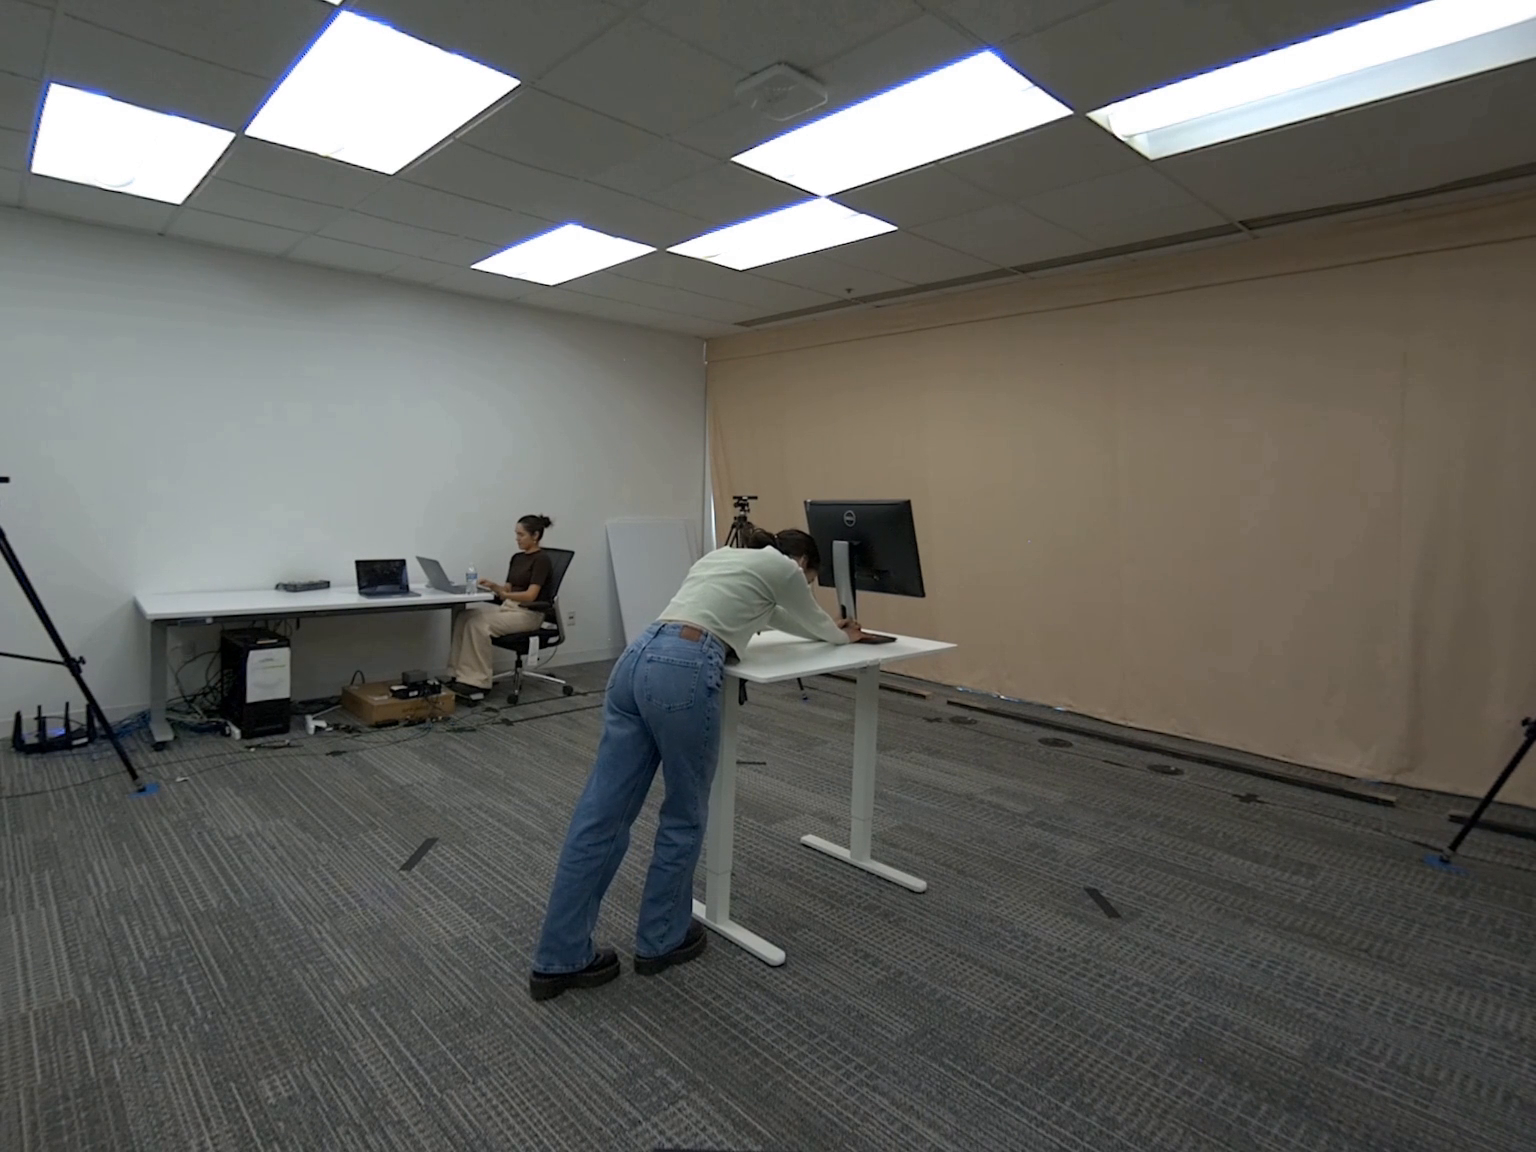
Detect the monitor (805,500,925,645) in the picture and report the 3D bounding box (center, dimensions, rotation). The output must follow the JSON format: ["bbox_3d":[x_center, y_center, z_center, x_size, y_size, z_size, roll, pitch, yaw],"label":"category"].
[{"bbox_3d":[0.316,-0.019,3.103,0.183,0.521,0.552,-4,5,-40],"label":"monitor"}]
